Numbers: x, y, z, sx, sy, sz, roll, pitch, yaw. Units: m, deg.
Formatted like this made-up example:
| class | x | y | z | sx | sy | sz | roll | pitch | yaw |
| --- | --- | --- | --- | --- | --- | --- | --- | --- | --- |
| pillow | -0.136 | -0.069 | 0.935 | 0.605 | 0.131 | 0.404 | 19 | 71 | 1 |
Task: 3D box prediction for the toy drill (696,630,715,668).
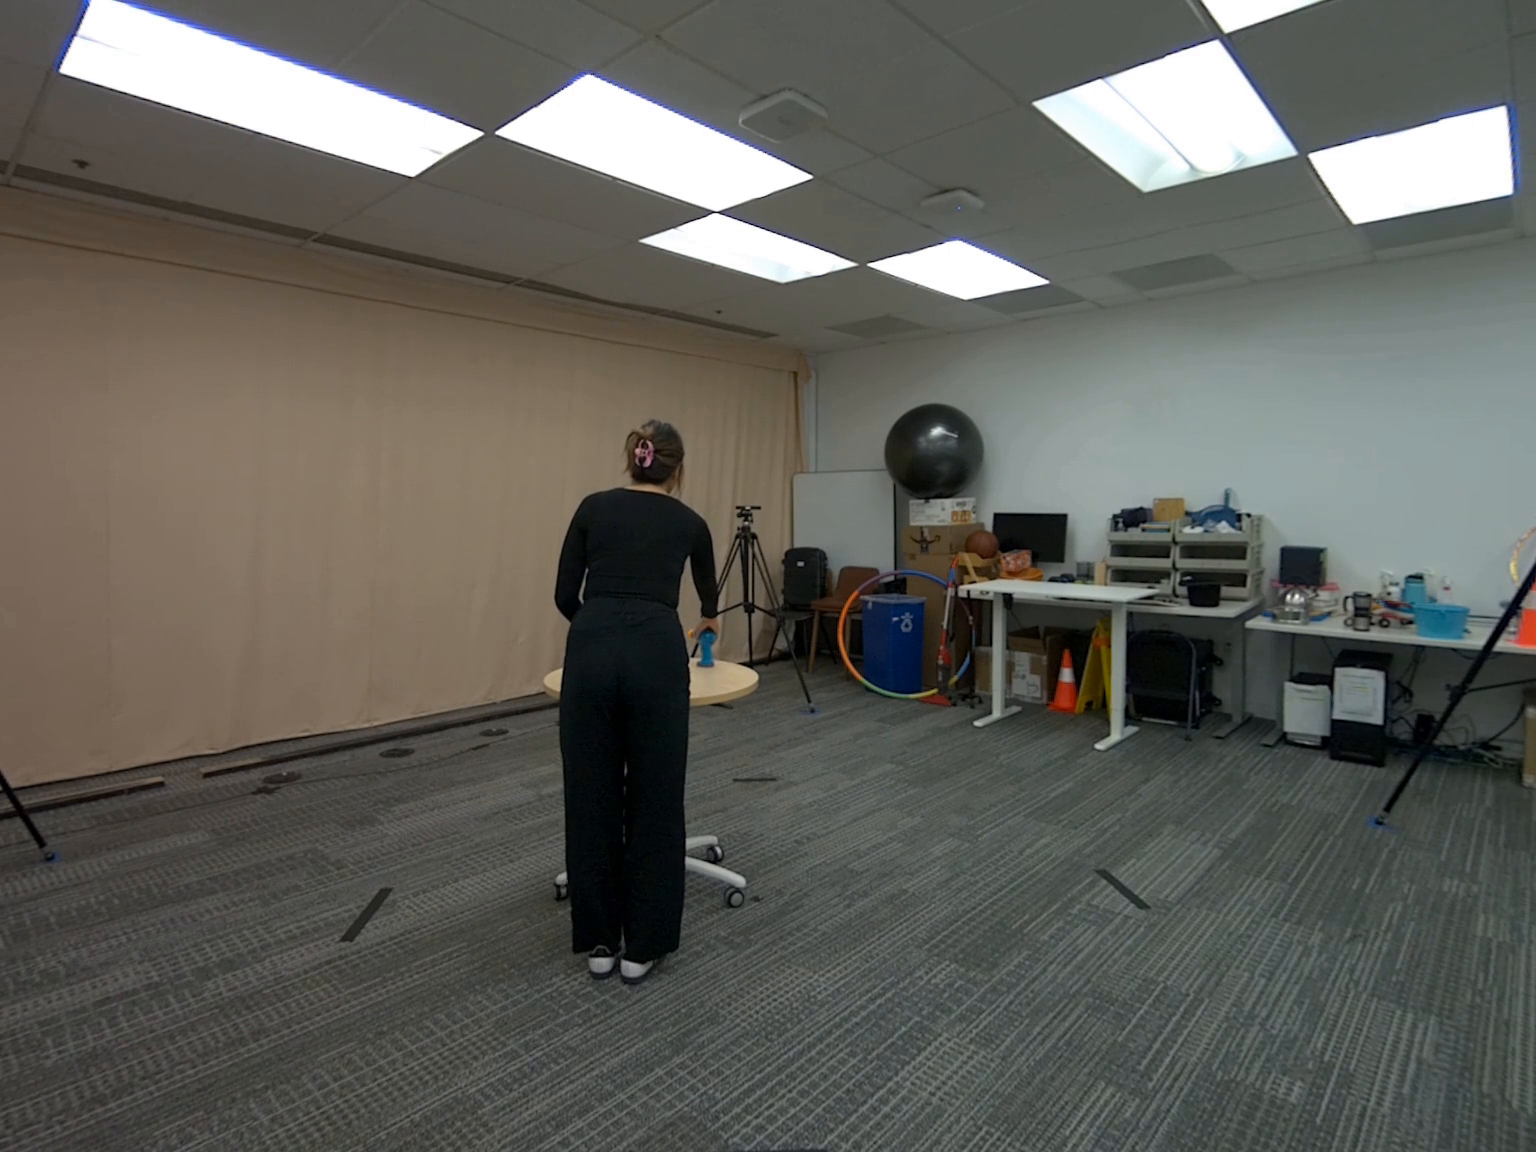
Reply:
| class | x | y | z | sx | sy | sz | roll | pitch | yaw |
| --- | --- | --- | --- | --- | --- | --- | --- | --- | --- |
| toy drill | -0.267 | 0.270 | 3.231 | 0.175 | 0.146 | 0.059 | 3 | 5 | 41 |
